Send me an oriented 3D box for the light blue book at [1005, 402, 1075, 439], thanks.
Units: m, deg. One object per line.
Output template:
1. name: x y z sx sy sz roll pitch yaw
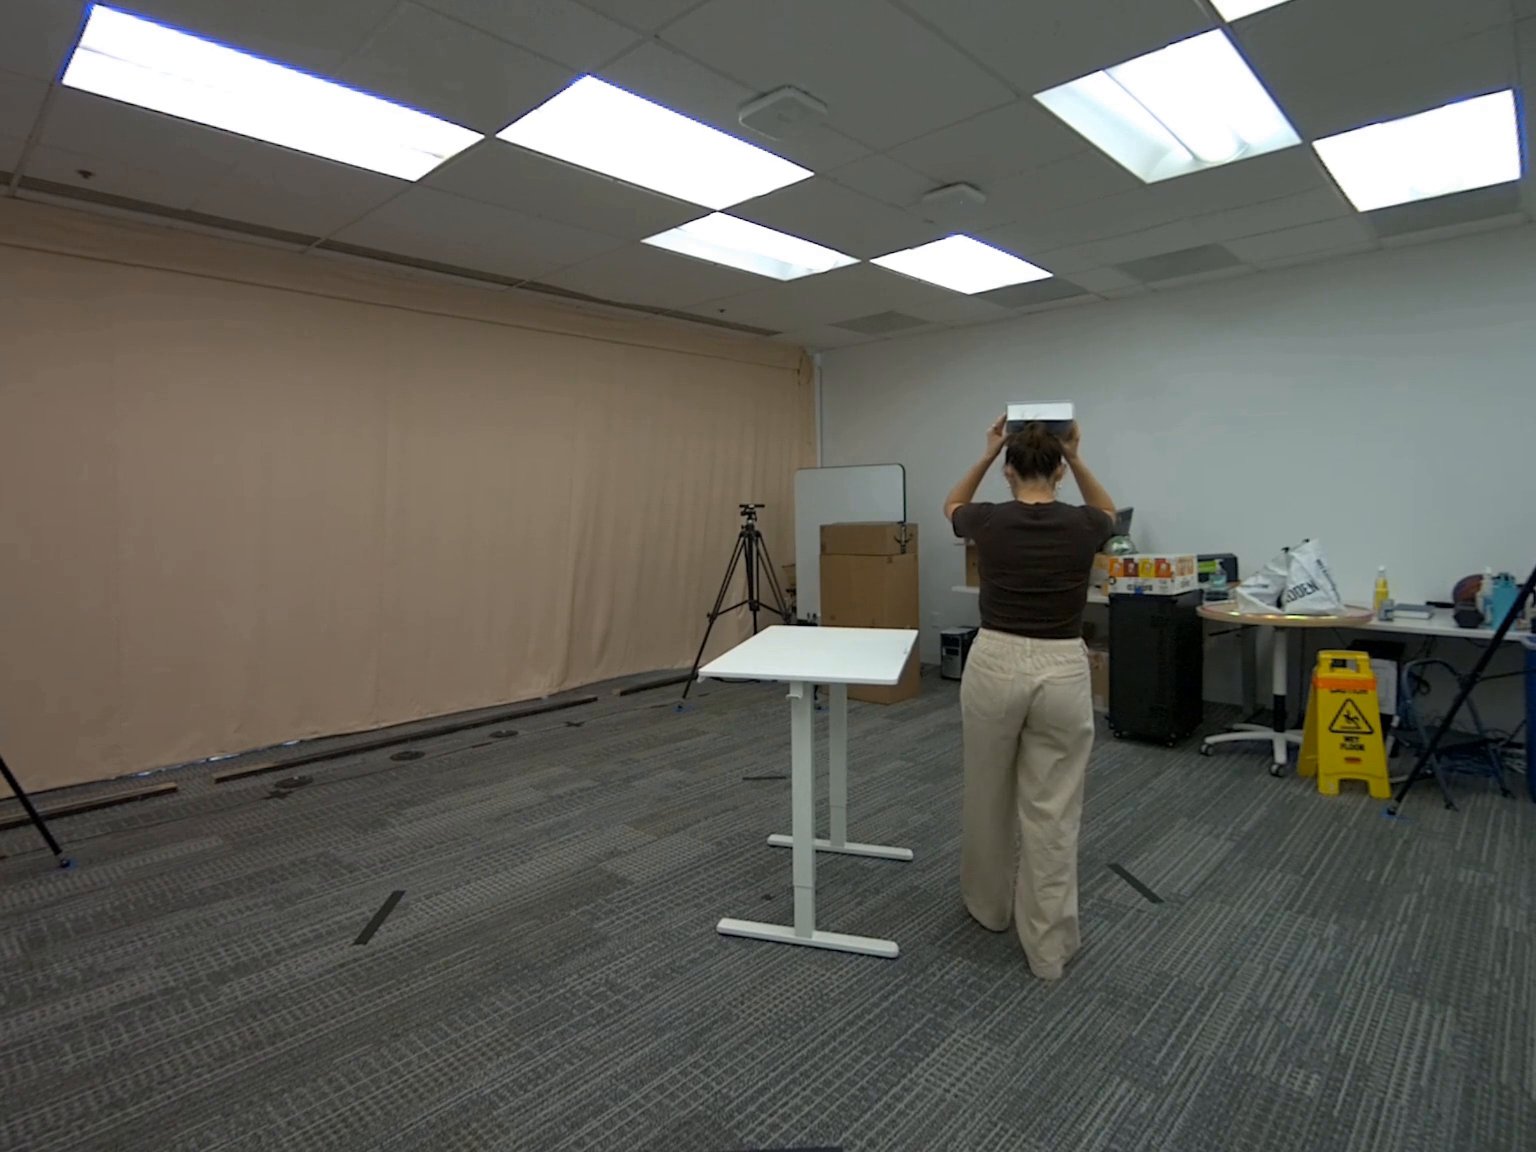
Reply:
1. light blue book: 0.832 -0.469 2.605 0.194 0.059 0.255 1 -9 14
